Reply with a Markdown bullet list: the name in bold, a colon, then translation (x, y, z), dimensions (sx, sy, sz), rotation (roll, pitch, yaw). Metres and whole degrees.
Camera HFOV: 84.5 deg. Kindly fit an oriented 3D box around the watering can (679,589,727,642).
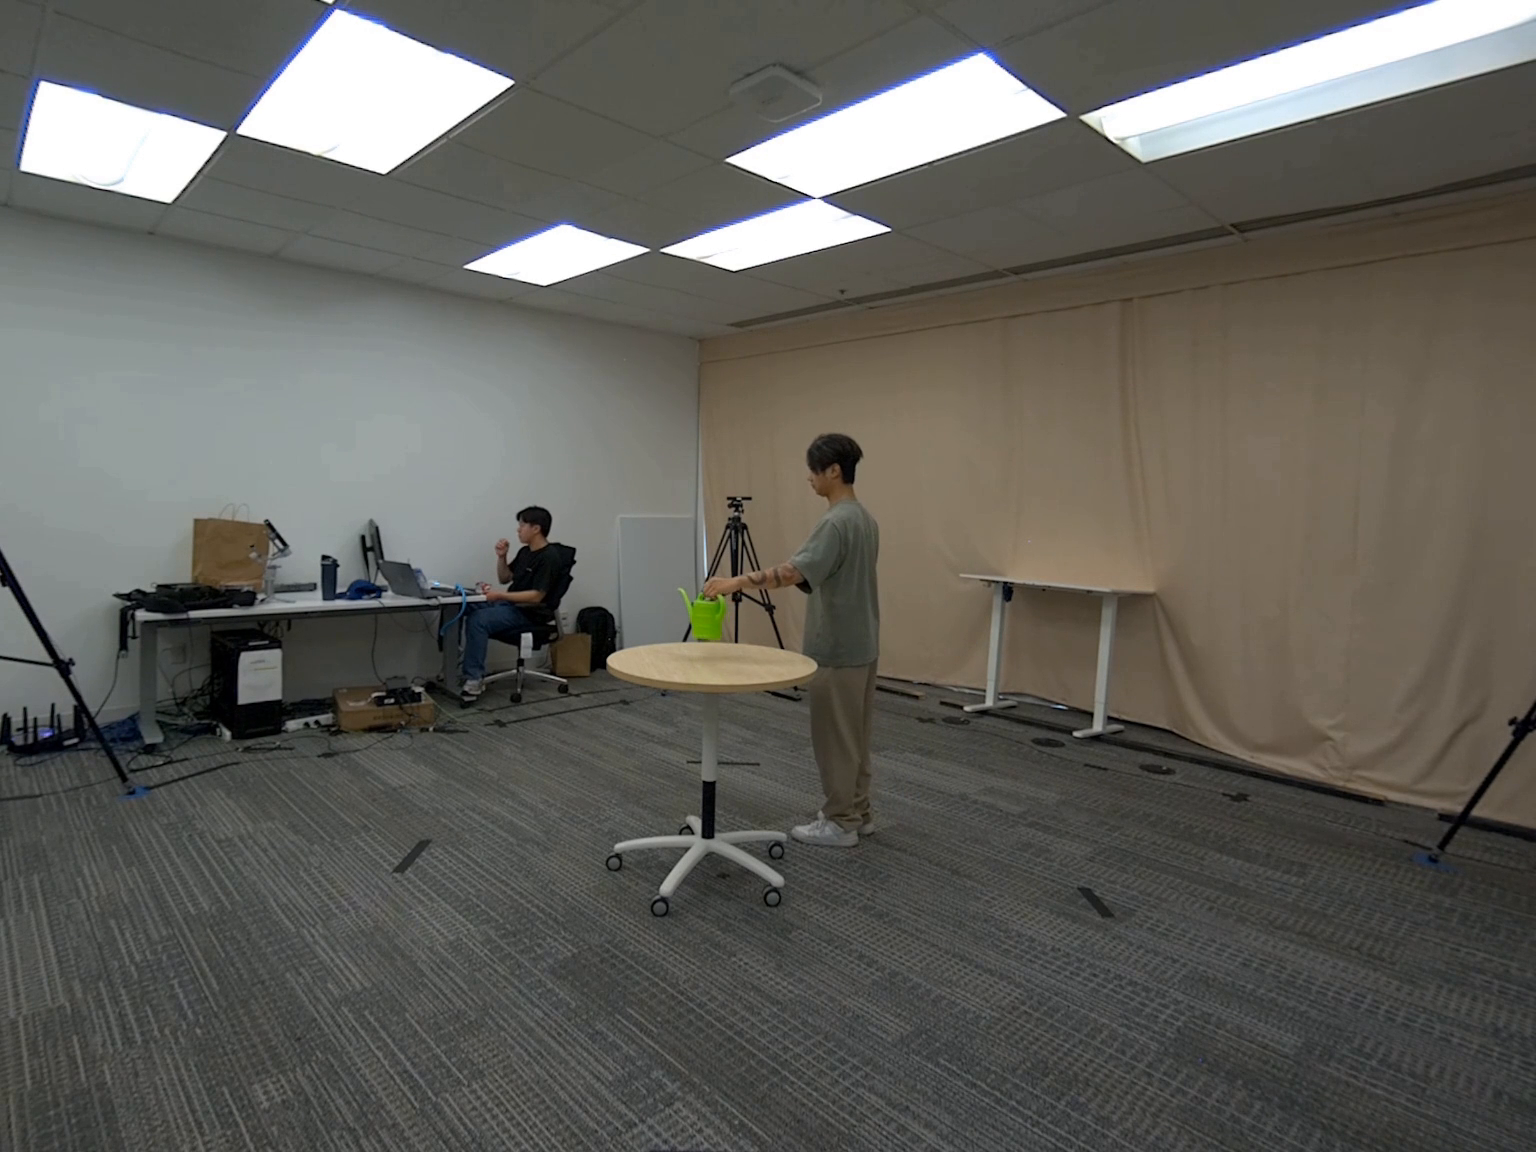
- **watering can**: translation (-0.244, 0.146, 3.153), dimensions (0.096, 0.177, 0.283), rotation (5, 0, -25)
